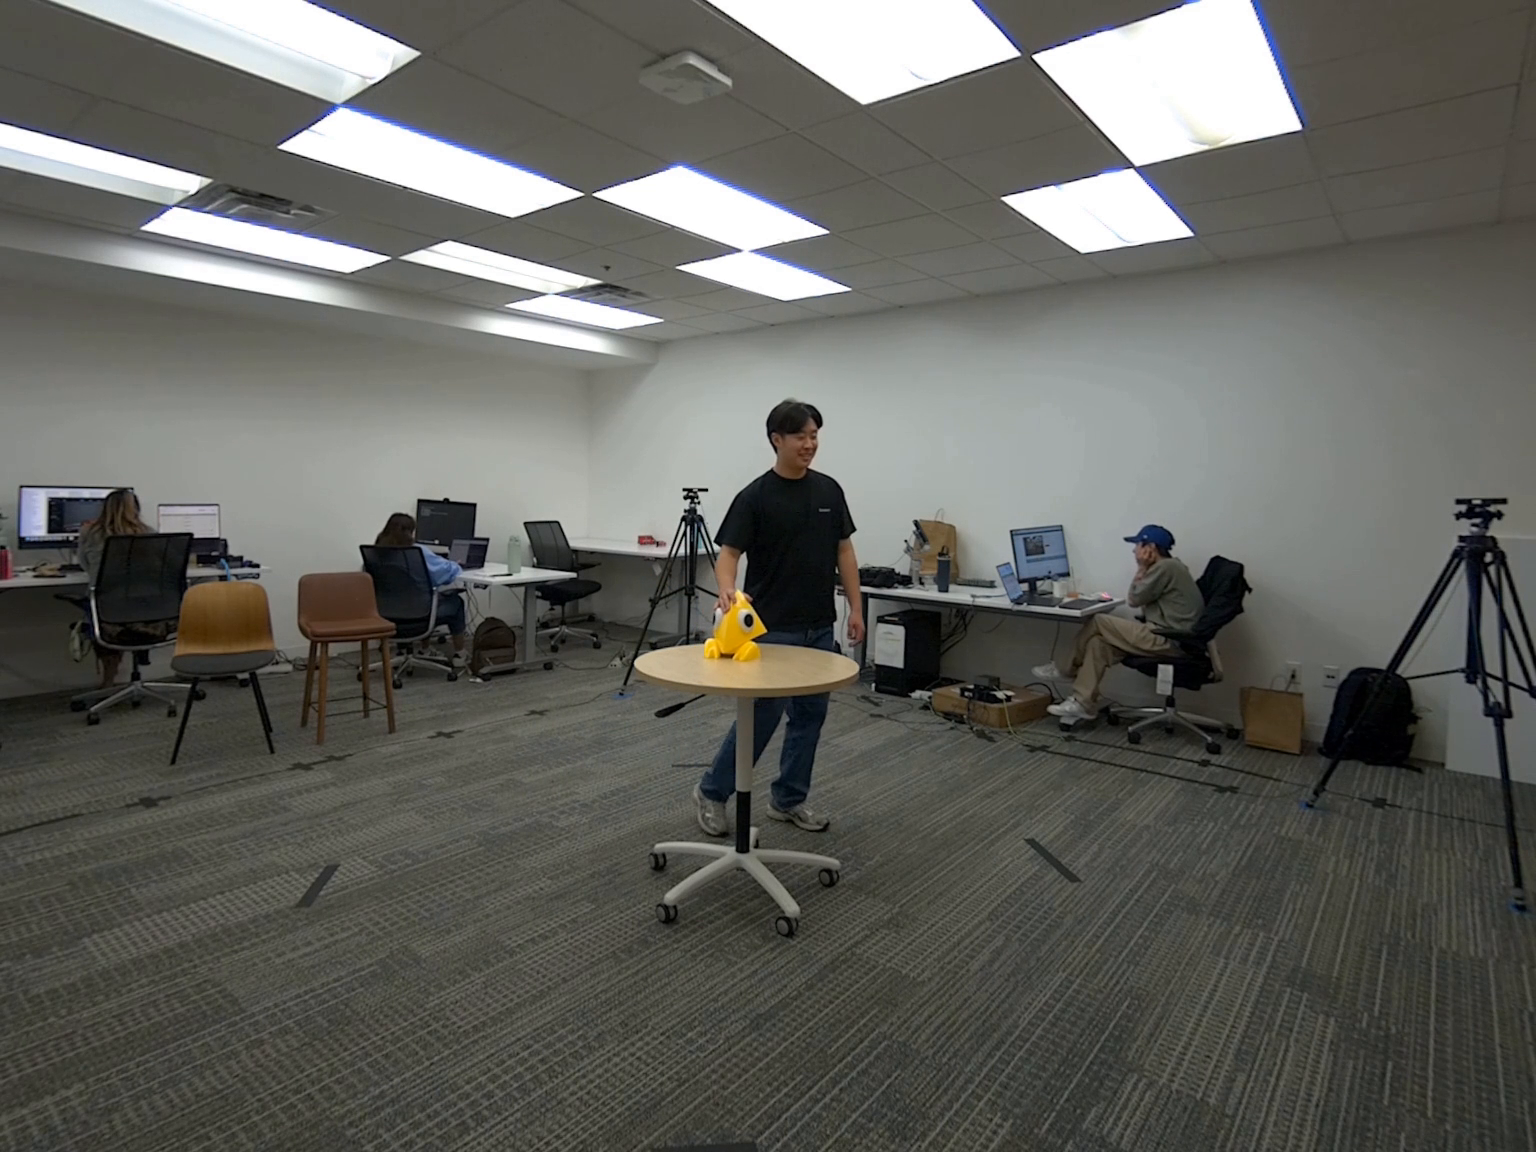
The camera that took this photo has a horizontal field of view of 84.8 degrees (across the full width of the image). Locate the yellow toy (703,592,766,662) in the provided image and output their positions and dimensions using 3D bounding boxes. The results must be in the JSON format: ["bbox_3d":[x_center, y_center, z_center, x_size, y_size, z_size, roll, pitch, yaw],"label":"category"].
[{"bbox_3d":[-0.136,0.168,3.034,0.209,0.230,0.190,1,3,17],"label":"yellow toy"}]
